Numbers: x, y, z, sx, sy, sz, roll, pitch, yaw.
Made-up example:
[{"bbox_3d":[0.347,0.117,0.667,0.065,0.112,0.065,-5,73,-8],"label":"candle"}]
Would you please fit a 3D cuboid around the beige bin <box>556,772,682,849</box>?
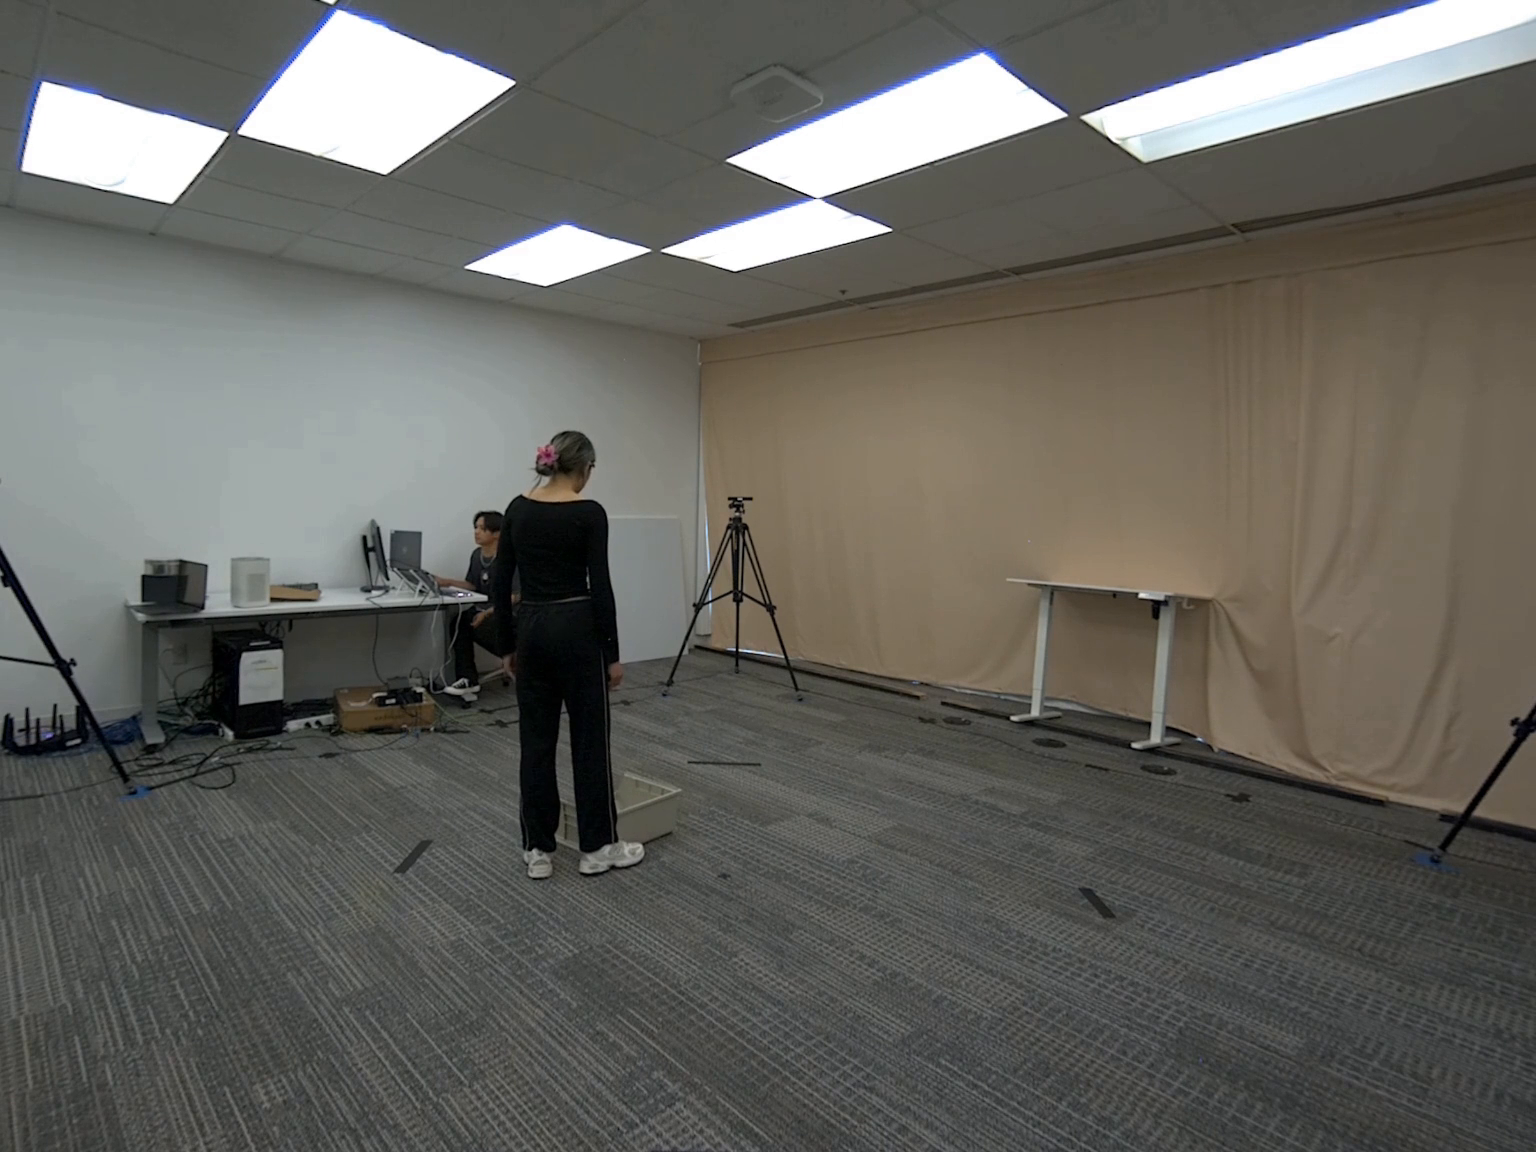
[{"bbox_3d":[-0.639,0.976,3.457,0.387,0.188,0.413,7,7,38],"label":"beige bin"}]
